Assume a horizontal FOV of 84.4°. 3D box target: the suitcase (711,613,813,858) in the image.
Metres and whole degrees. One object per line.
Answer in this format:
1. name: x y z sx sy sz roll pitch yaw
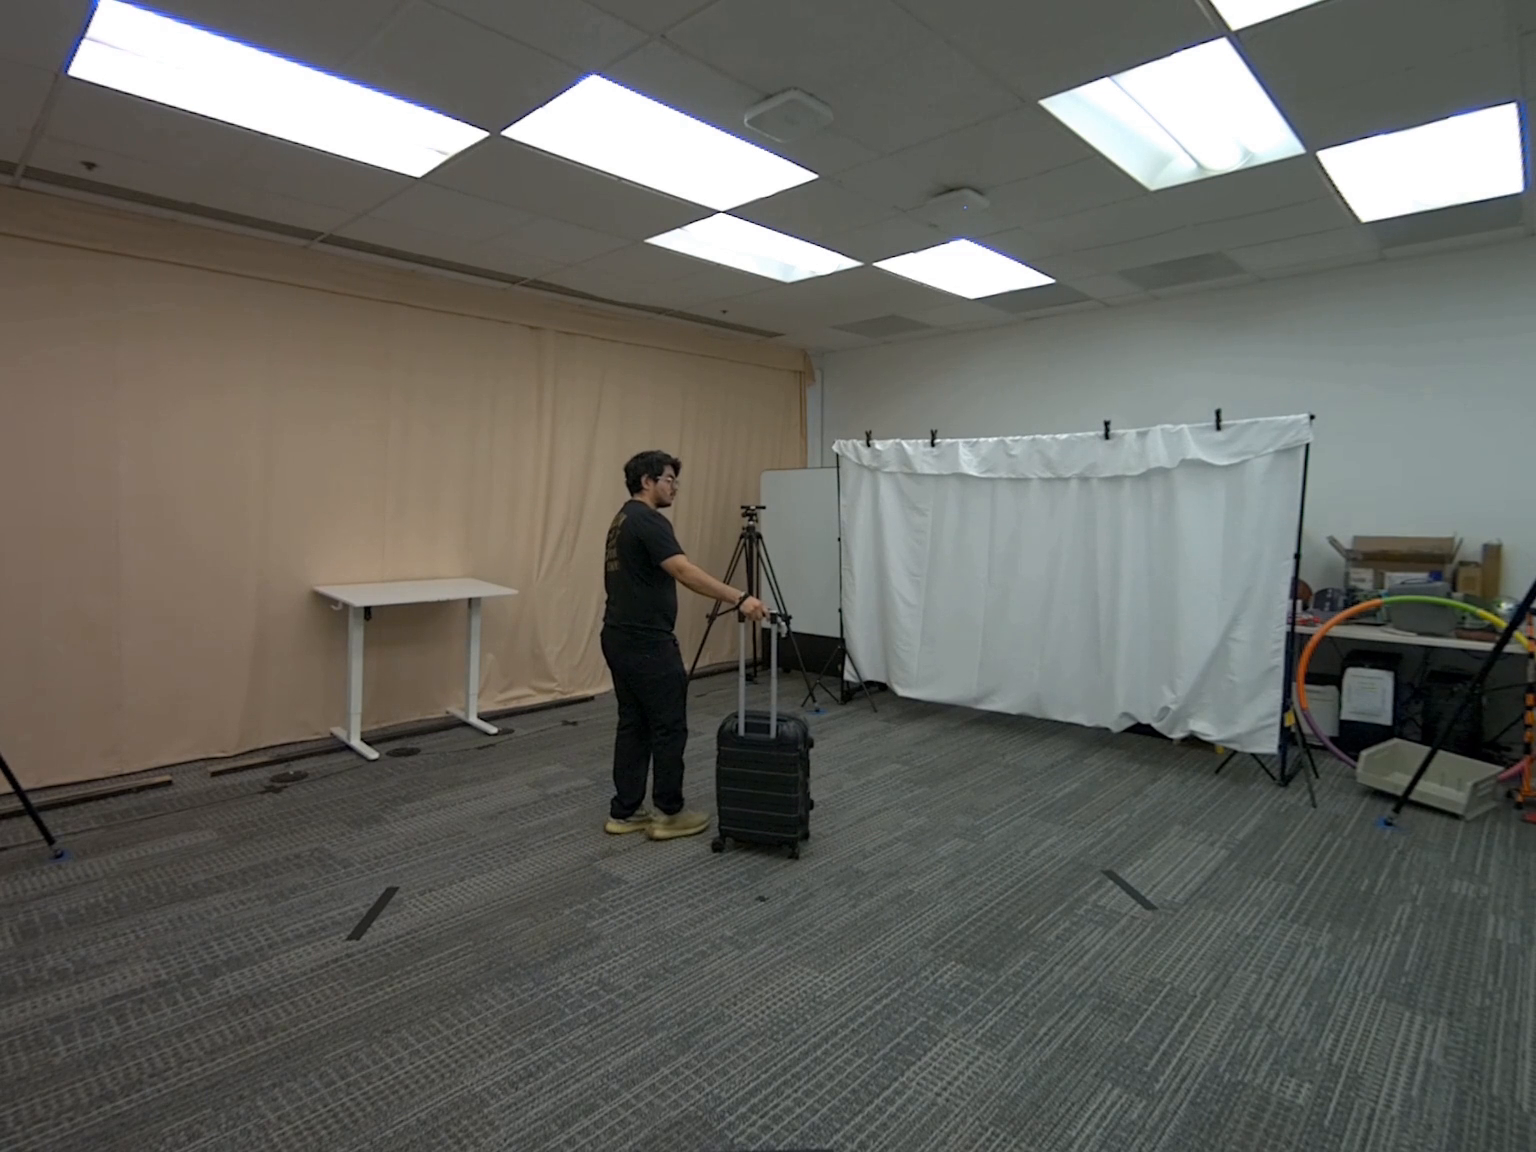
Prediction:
1. suitcase: -0.019 0.627 3.421 0.391 0.977 0.253 1 2 16
